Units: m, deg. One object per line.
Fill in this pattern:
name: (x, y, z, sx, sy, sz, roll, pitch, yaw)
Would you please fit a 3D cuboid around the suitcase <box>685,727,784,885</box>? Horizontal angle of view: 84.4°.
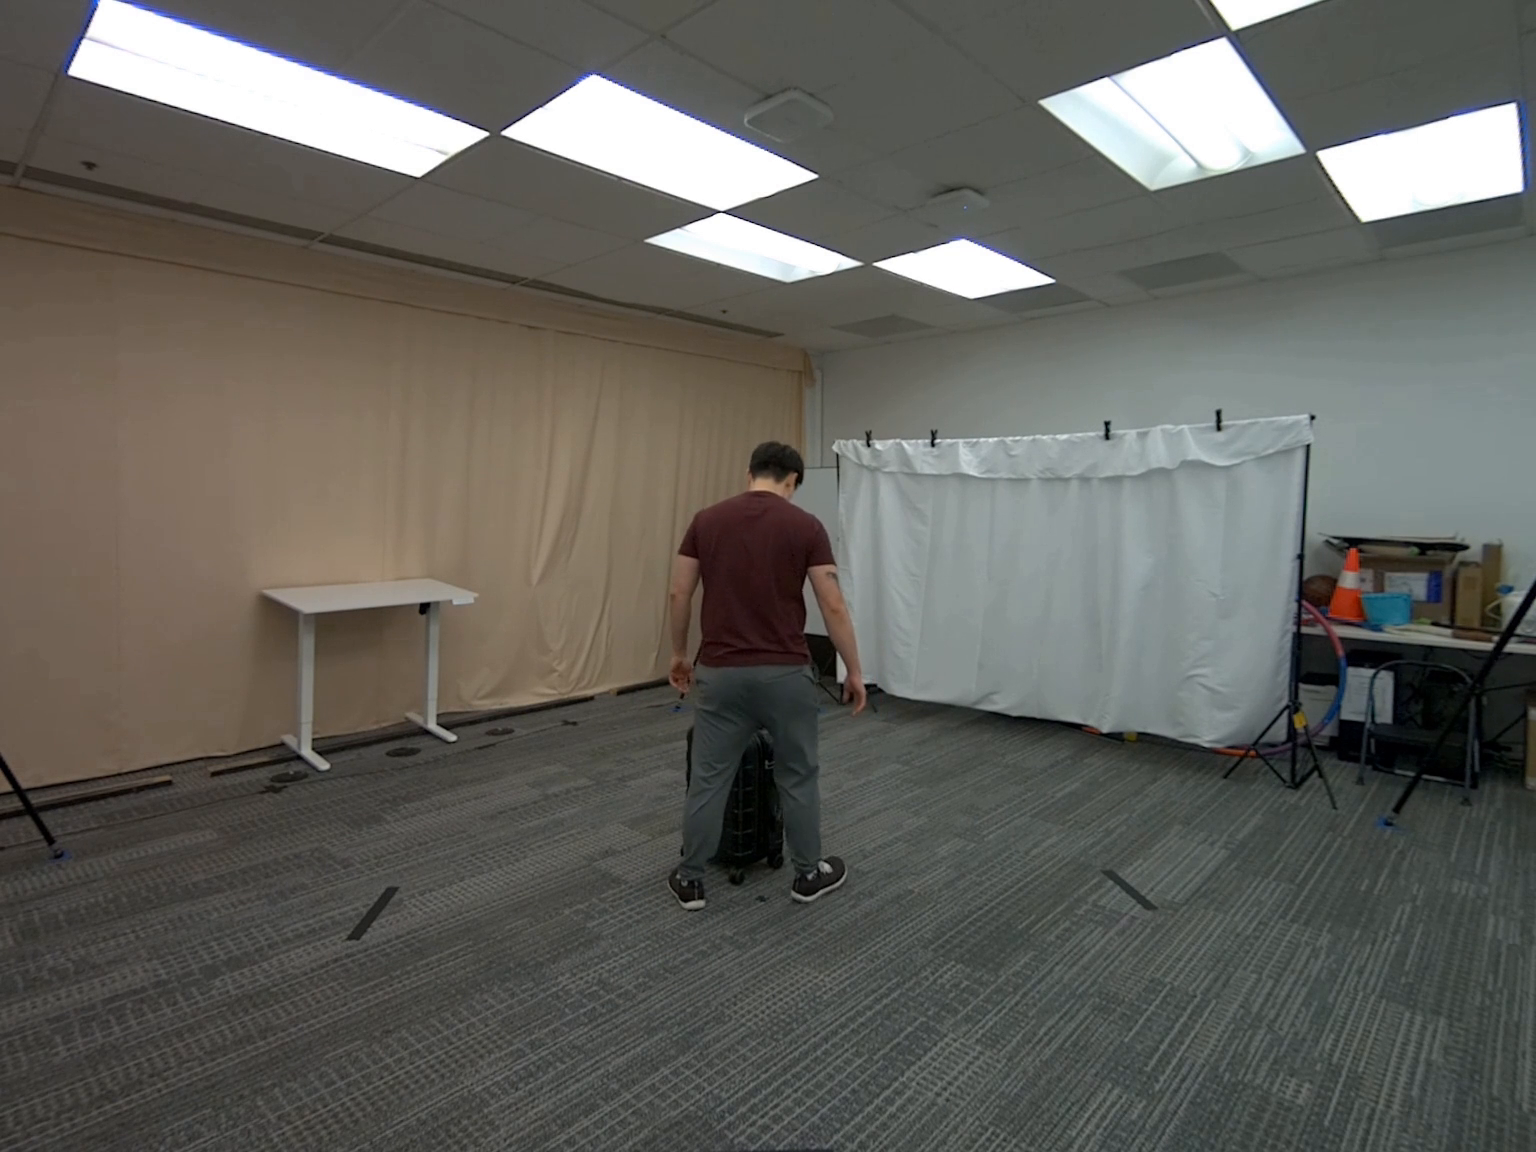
suitcase: (-0.141, 0.638, 3.282, 0.249, 0.977, 0.396, -3, 2, -37)
